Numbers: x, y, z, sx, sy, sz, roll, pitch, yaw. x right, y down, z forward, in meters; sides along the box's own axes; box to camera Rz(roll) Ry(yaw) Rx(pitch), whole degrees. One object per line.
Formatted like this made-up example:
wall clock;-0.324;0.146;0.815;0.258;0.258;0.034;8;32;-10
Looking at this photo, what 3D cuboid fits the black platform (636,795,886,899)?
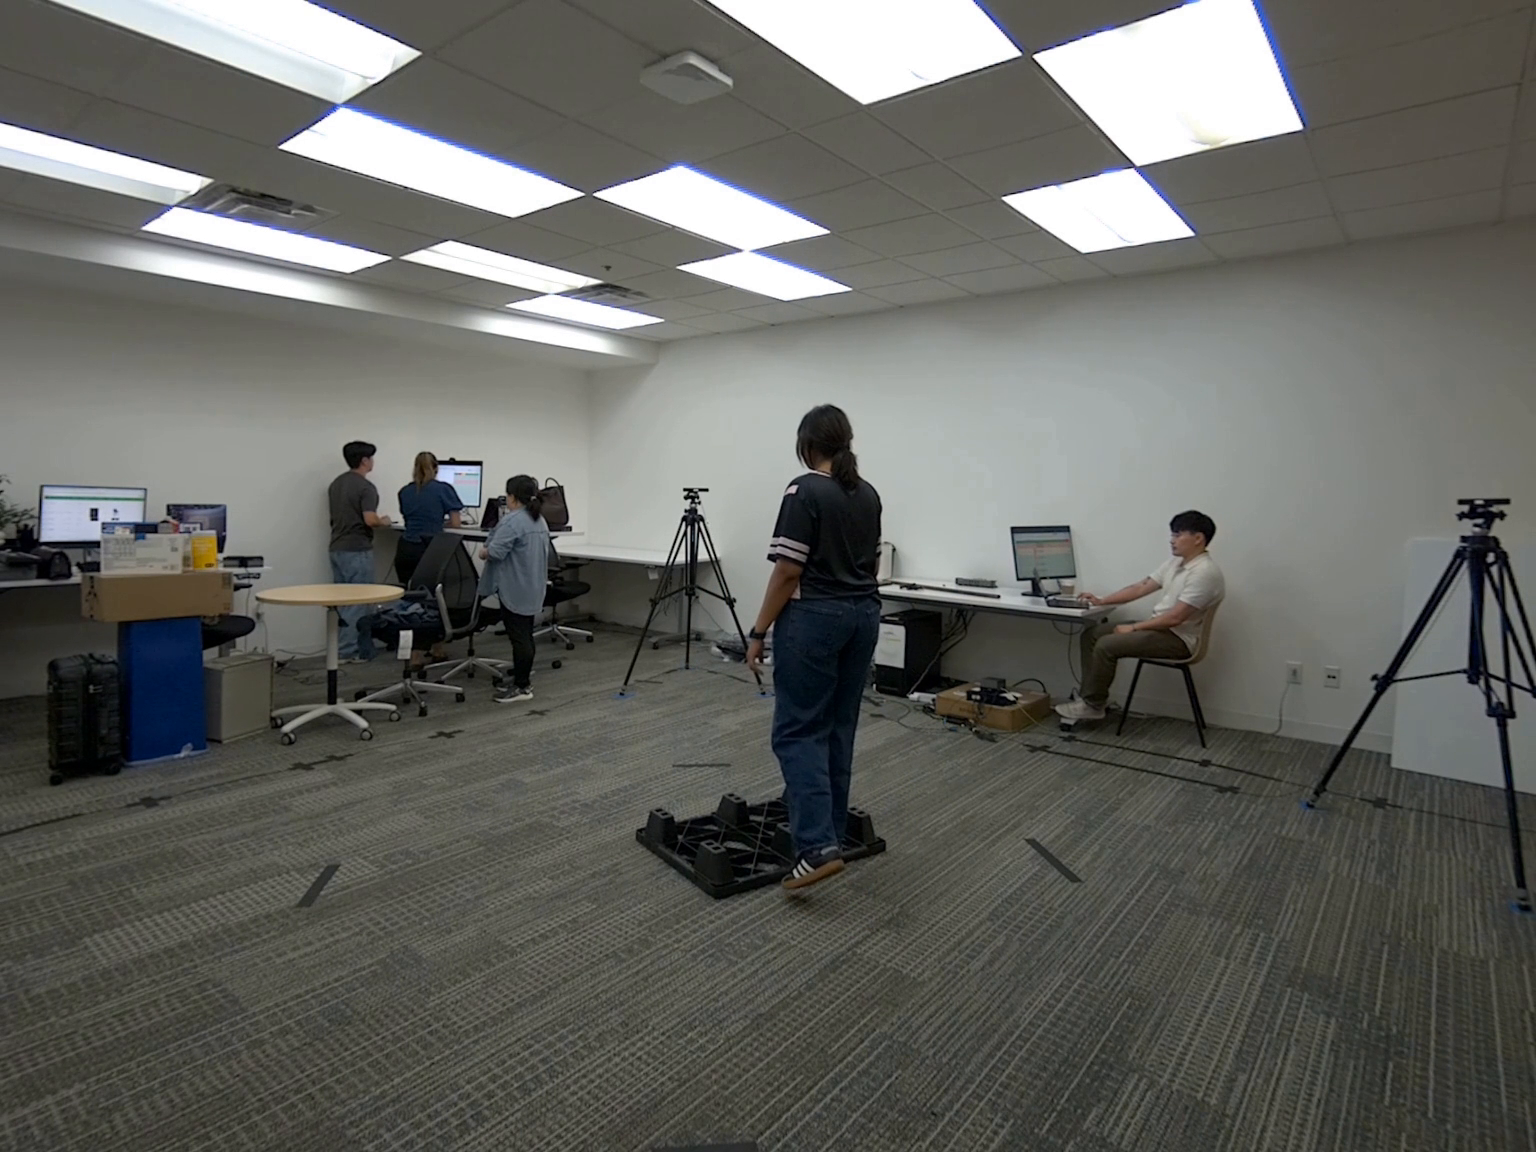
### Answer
black platform;-0.043;0.989;3.326;0.783;0.143;0.625;-3;7;-35
